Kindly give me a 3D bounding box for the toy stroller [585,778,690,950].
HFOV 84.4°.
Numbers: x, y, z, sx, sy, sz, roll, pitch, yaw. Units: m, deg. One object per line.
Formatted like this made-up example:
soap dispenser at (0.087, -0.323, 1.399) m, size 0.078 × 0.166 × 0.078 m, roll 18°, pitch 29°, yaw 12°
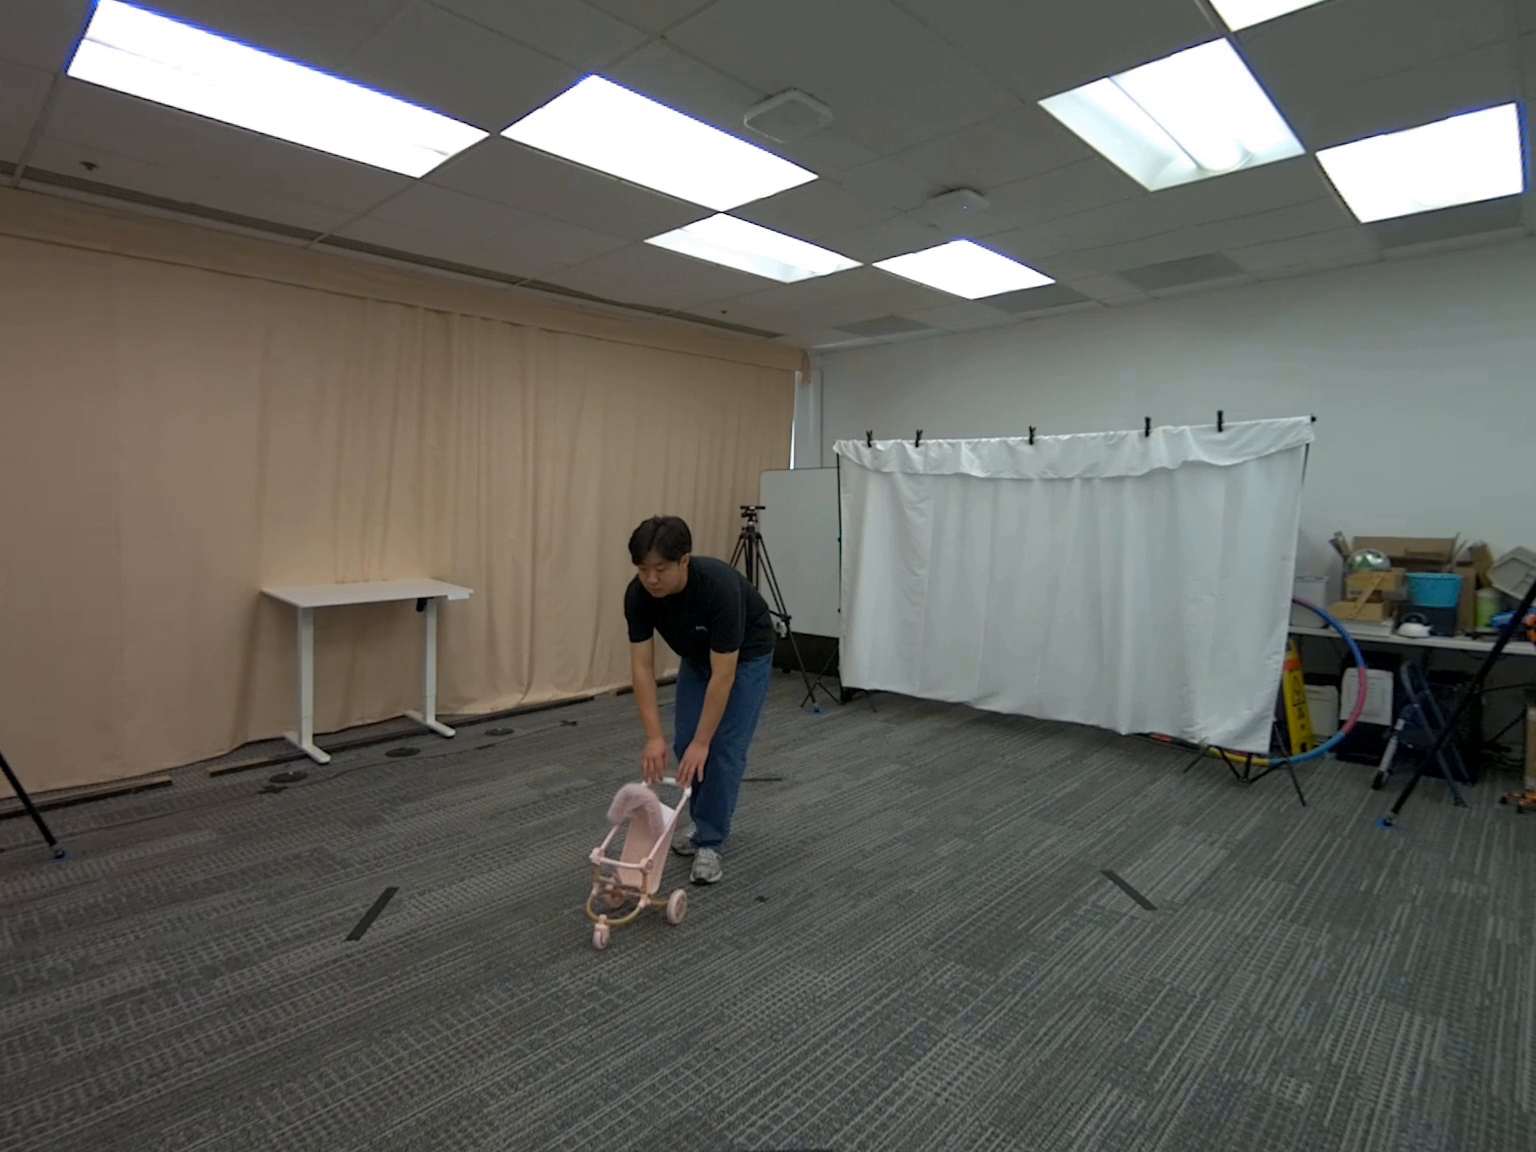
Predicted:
toy stroller at (-0.445, 0.938, 2.811) m, size 0.290 × 0.538 × 0.329 m, roll 1°, pitch -14°, yaw 31°
